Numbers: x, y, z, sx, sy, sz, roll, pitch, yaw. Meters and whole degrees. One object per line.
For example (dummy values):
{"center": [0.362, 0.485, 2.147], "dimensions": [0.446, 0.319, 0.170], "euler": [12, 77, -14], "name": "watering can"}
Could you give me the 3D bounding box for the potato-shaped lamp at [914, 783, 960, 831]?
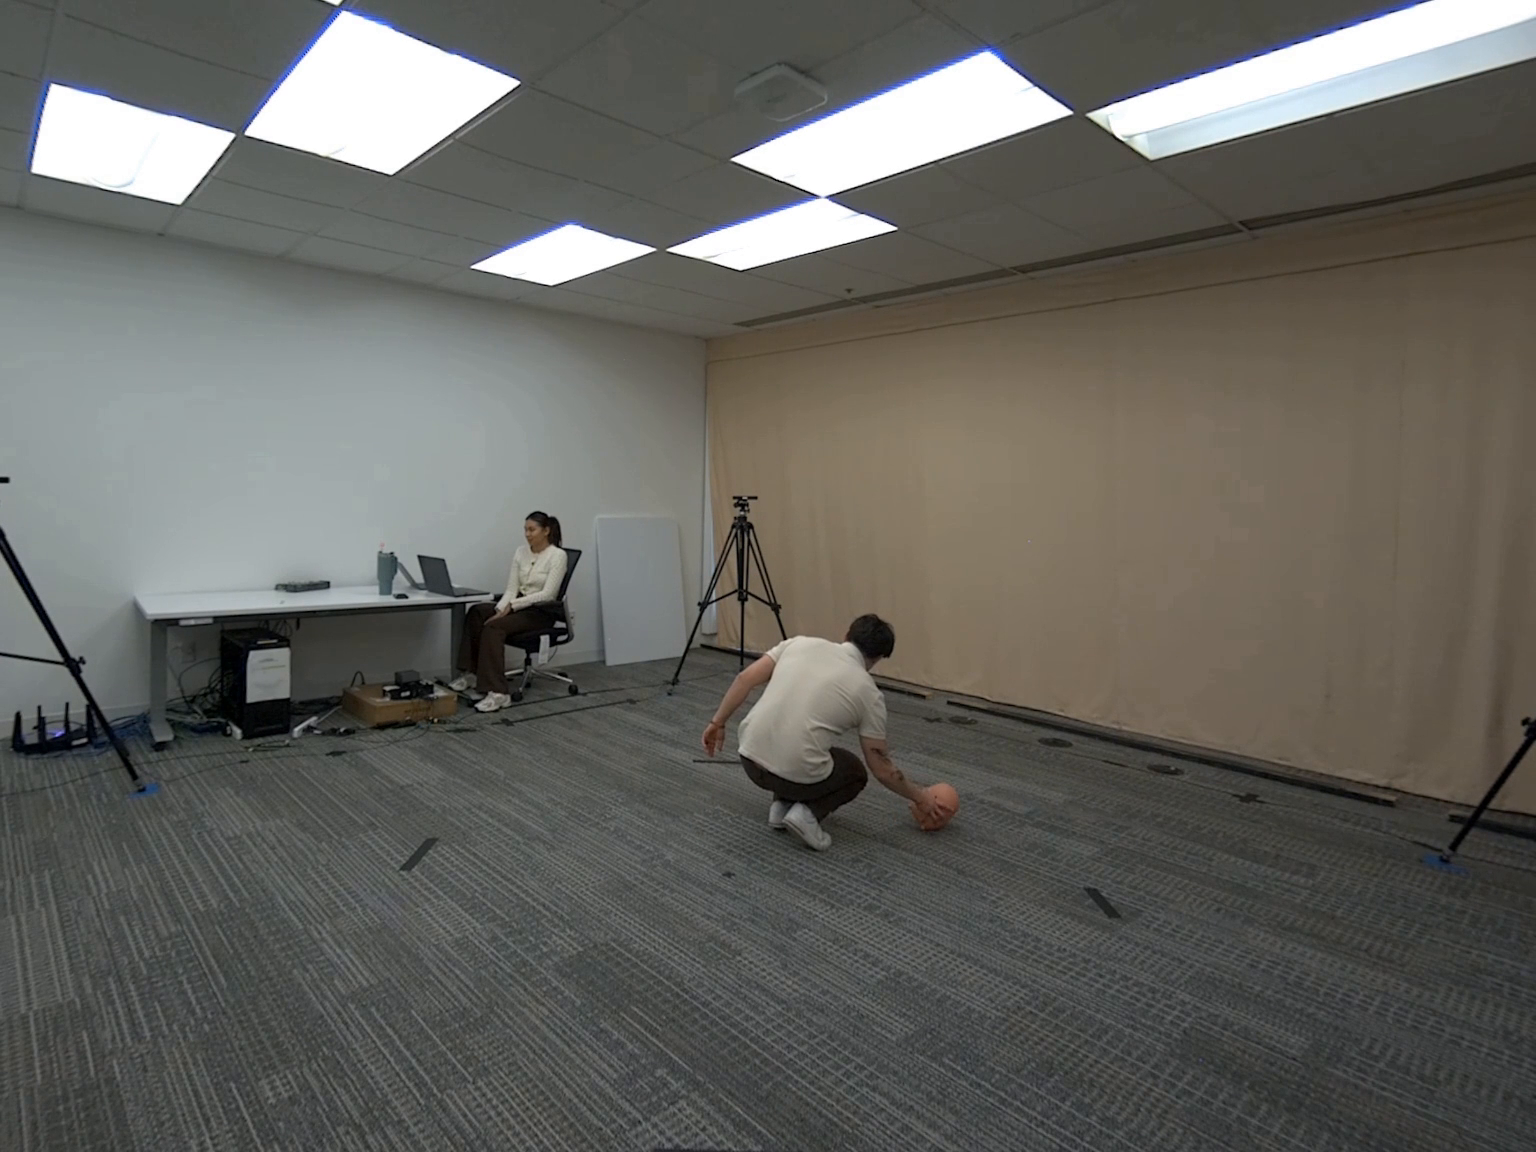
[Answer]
{"center": [0.709, 0.979, 3.616], "dimensions": [0.164, 0.198, 0.172], "euler": [38, 26, -6], "name": "potato-shaped lamp"}
